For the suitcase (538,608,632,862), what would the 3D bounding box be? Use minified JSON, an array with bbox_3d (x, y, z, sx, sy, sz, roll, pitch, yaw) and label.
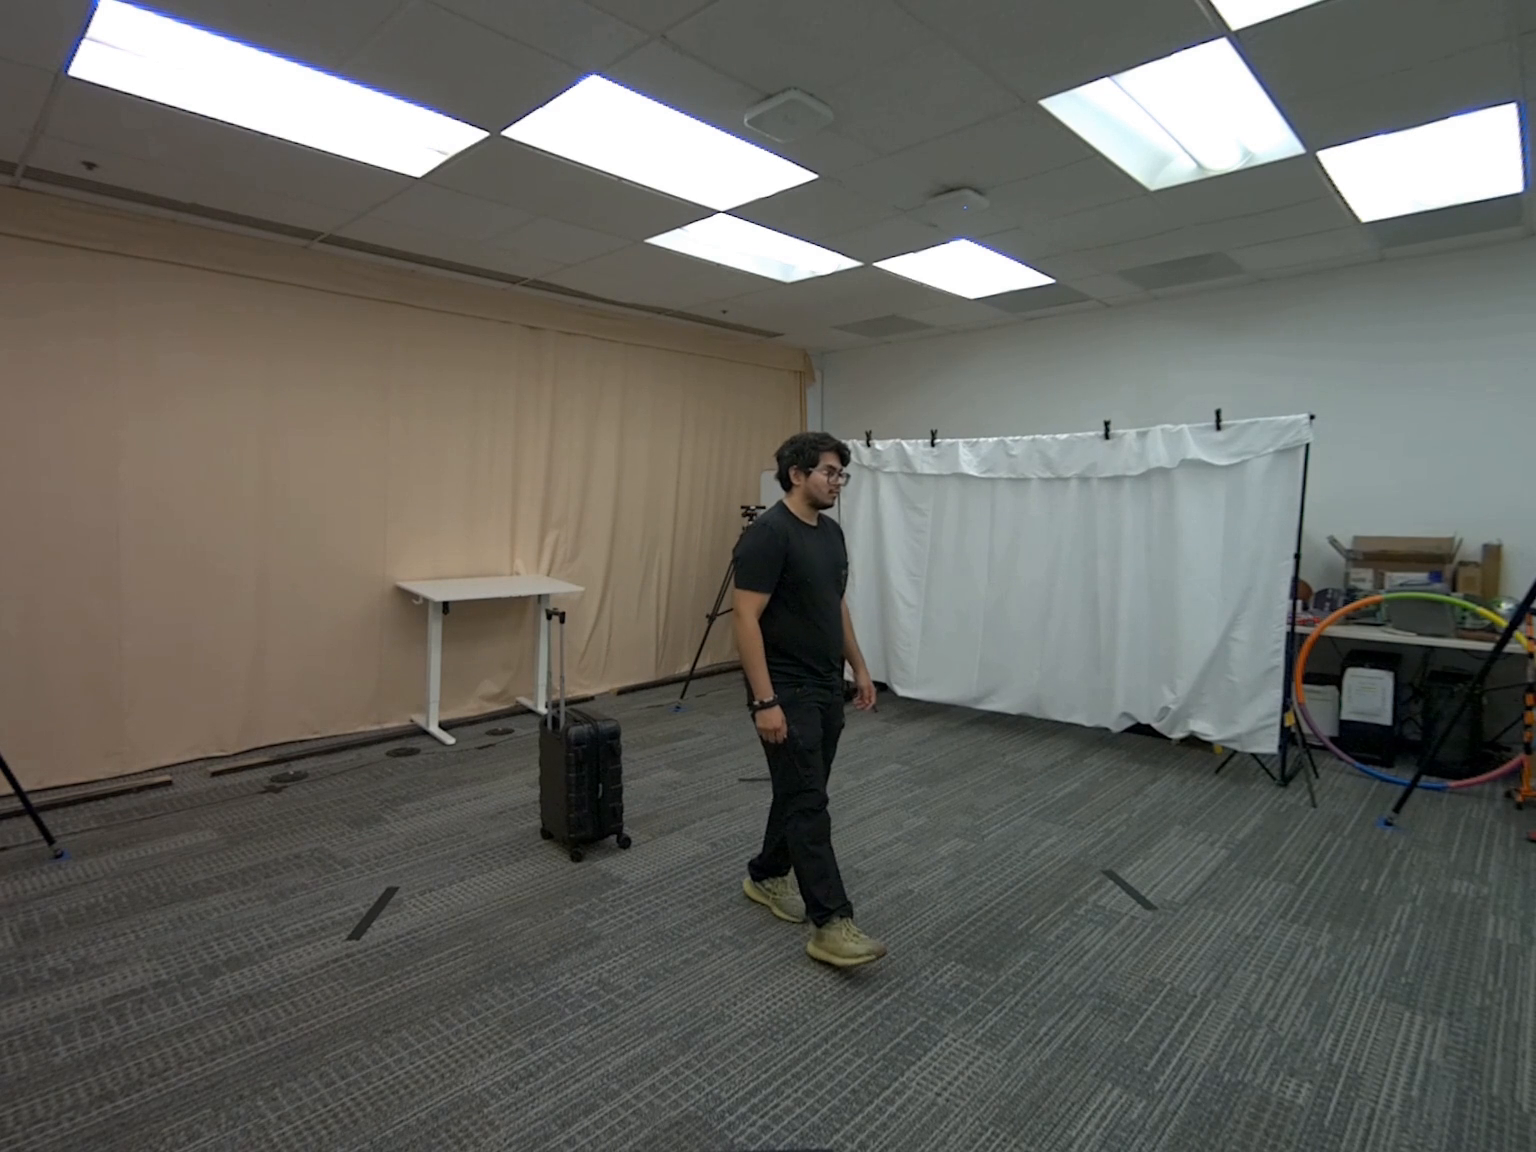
[{"bbox_3d":[-0.782,0.630,3.487,0.249,0.977,0.396,-2,3,-35],"label":"suitcase"}]
